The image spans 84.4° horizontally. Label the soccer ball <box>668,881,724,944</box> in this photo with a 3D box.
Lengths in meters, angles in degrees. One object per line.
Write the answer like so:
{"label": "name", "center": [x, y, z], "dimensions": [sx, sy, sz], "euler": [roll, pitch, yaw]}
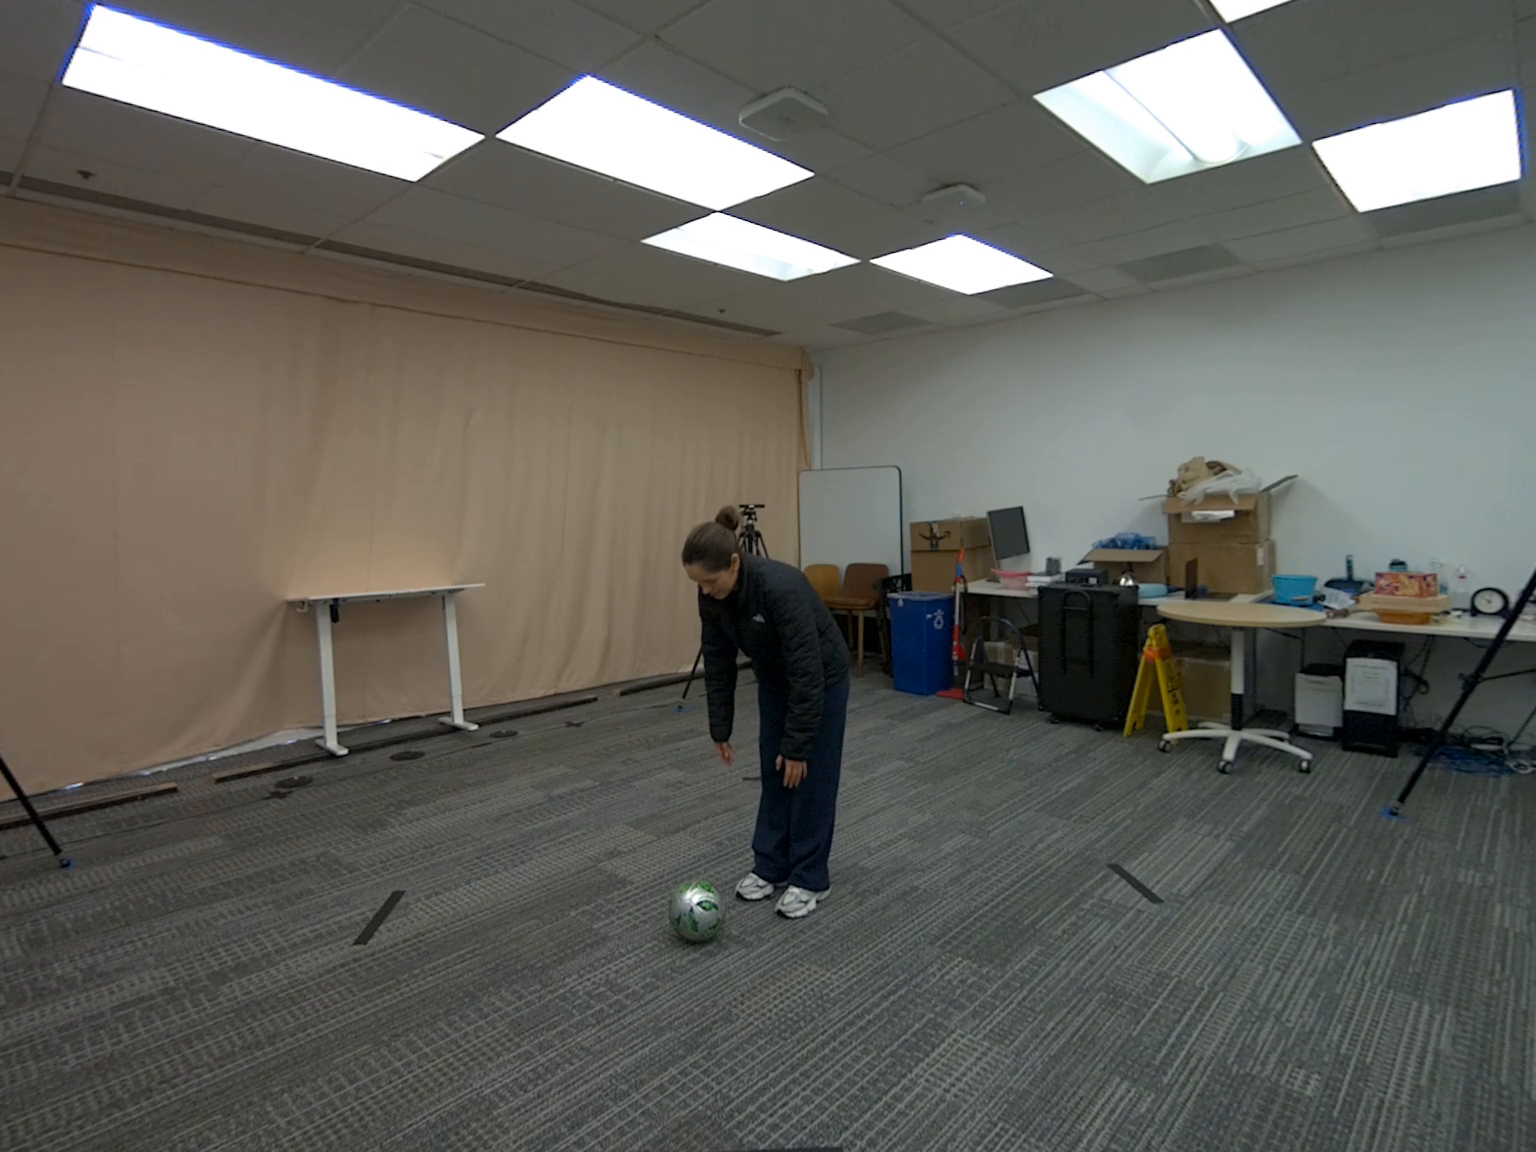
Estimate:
{"label": "soccer ball", "center": [-0.224, 1.074, 2.704], "dimensions": [0.187, 0.187, 0.188], "euler": [-1, 4, -2]}
